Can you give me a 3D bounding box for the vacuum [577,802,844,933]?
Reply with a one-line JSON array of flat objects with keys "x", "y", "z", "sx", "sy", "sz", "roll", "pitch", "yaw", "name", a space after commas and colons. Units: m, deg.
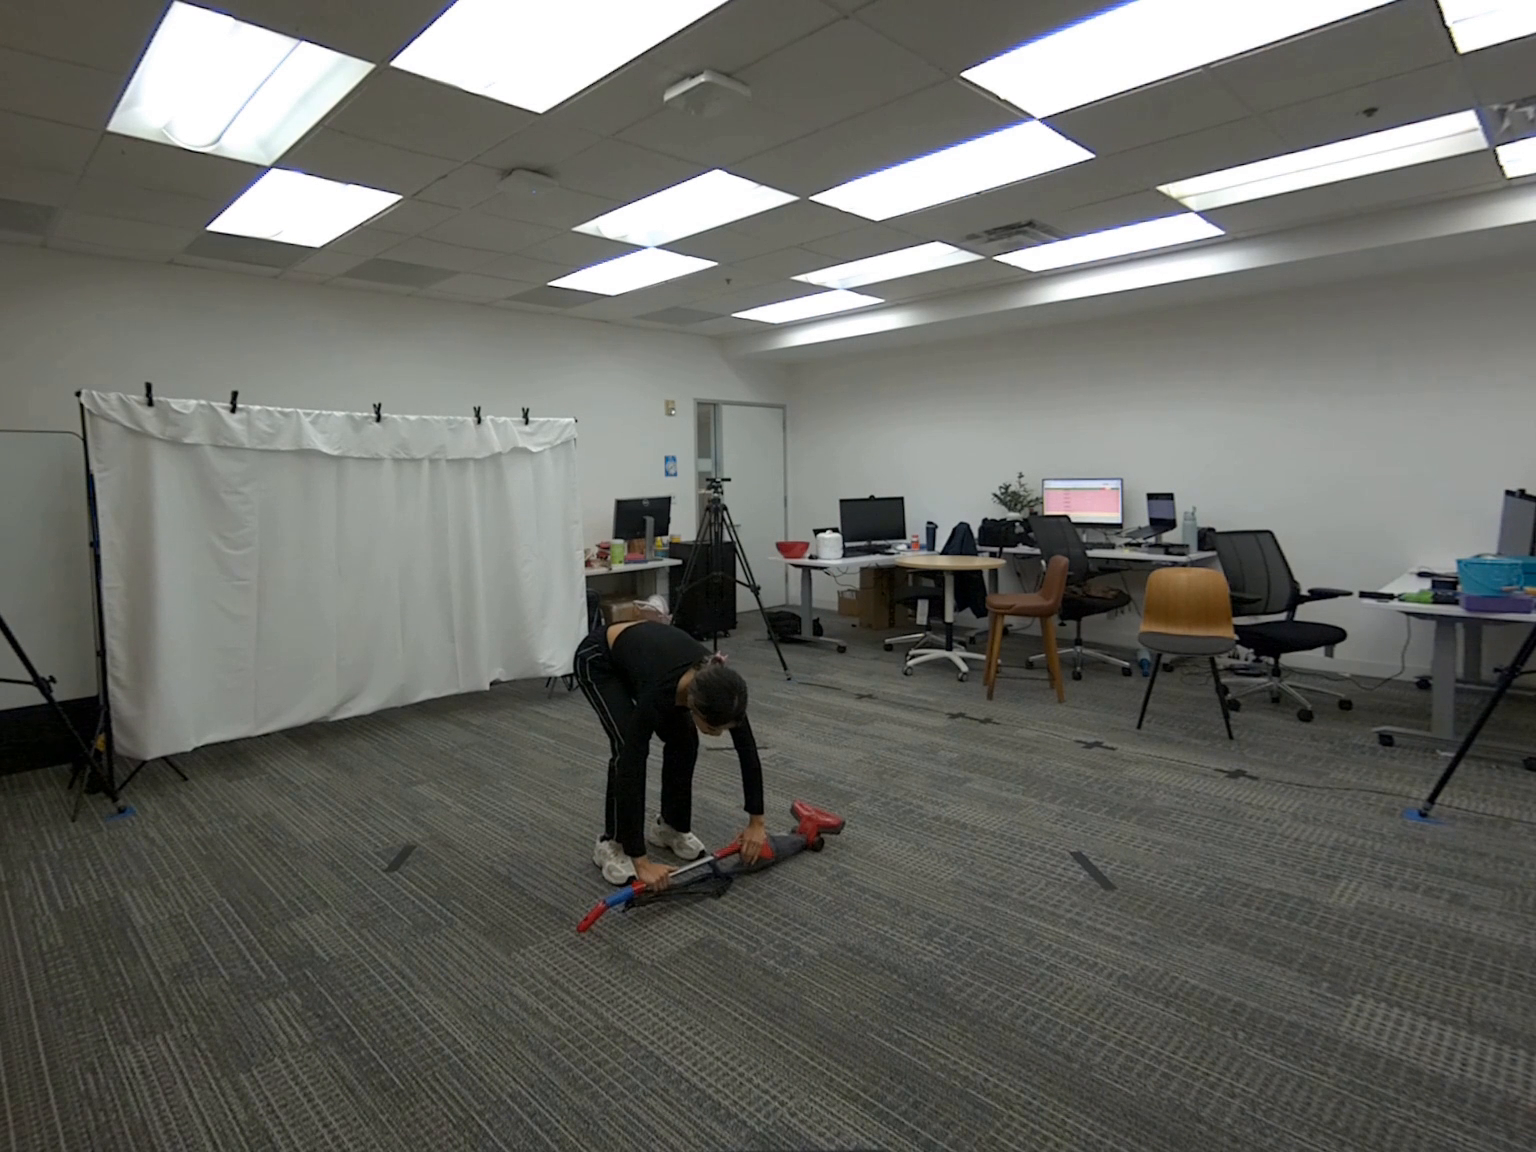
[{"x": -0.181, "y": 1.005, "z": 2.907, "sx": 0.260, "sy": 0.143, "sz": 1.023, "roll": 5, "pitch": 10, "yaw": 44, "name": "vacuum"}]
